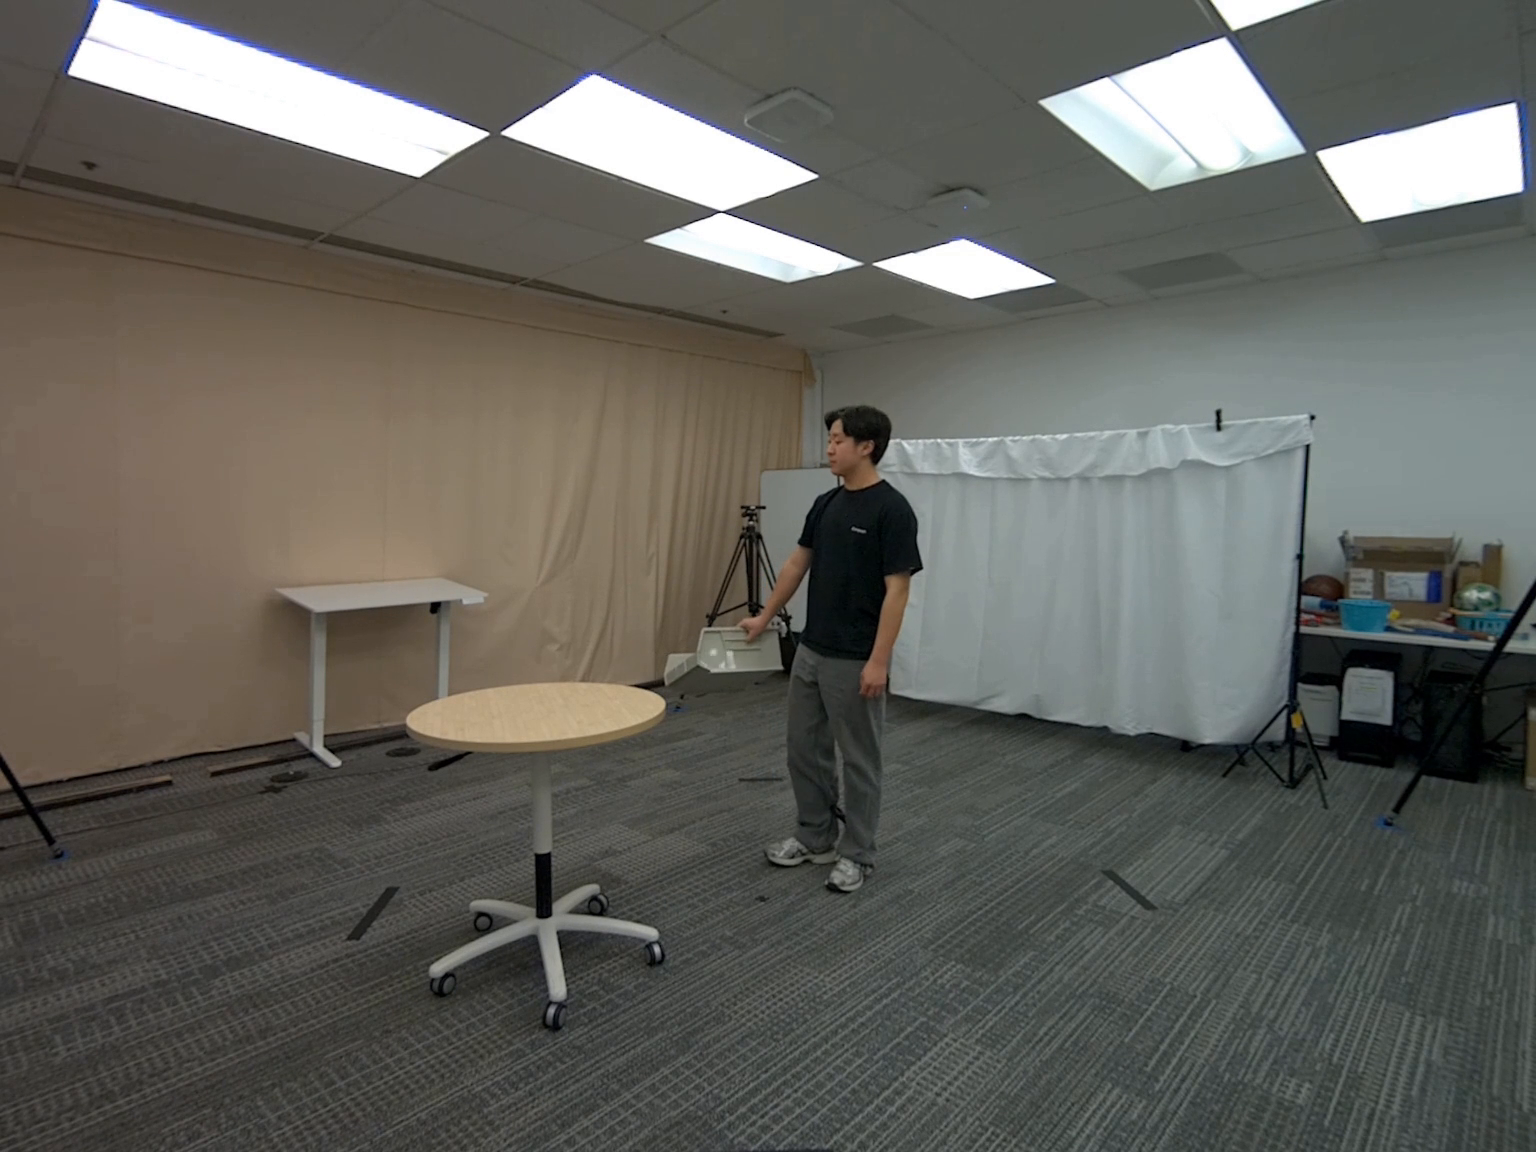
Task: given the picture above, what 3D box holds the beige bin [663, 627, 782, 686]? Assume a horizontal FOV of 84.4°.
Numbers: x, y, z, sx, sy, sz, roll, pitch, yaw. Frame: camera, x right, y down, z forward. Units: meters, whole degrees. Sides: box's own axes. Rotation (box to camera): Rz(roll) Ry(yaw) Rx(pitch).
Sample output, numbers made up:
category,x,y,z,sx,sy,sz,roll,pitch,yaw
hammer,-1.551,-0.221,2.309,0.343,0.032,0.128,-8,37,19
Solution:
category,x,y,z,sx,sy,sz,roll,pitch,yaw
beige bin,-0.197,0.349,3.499,0.368,0.191,0.427,3,-21,-24
